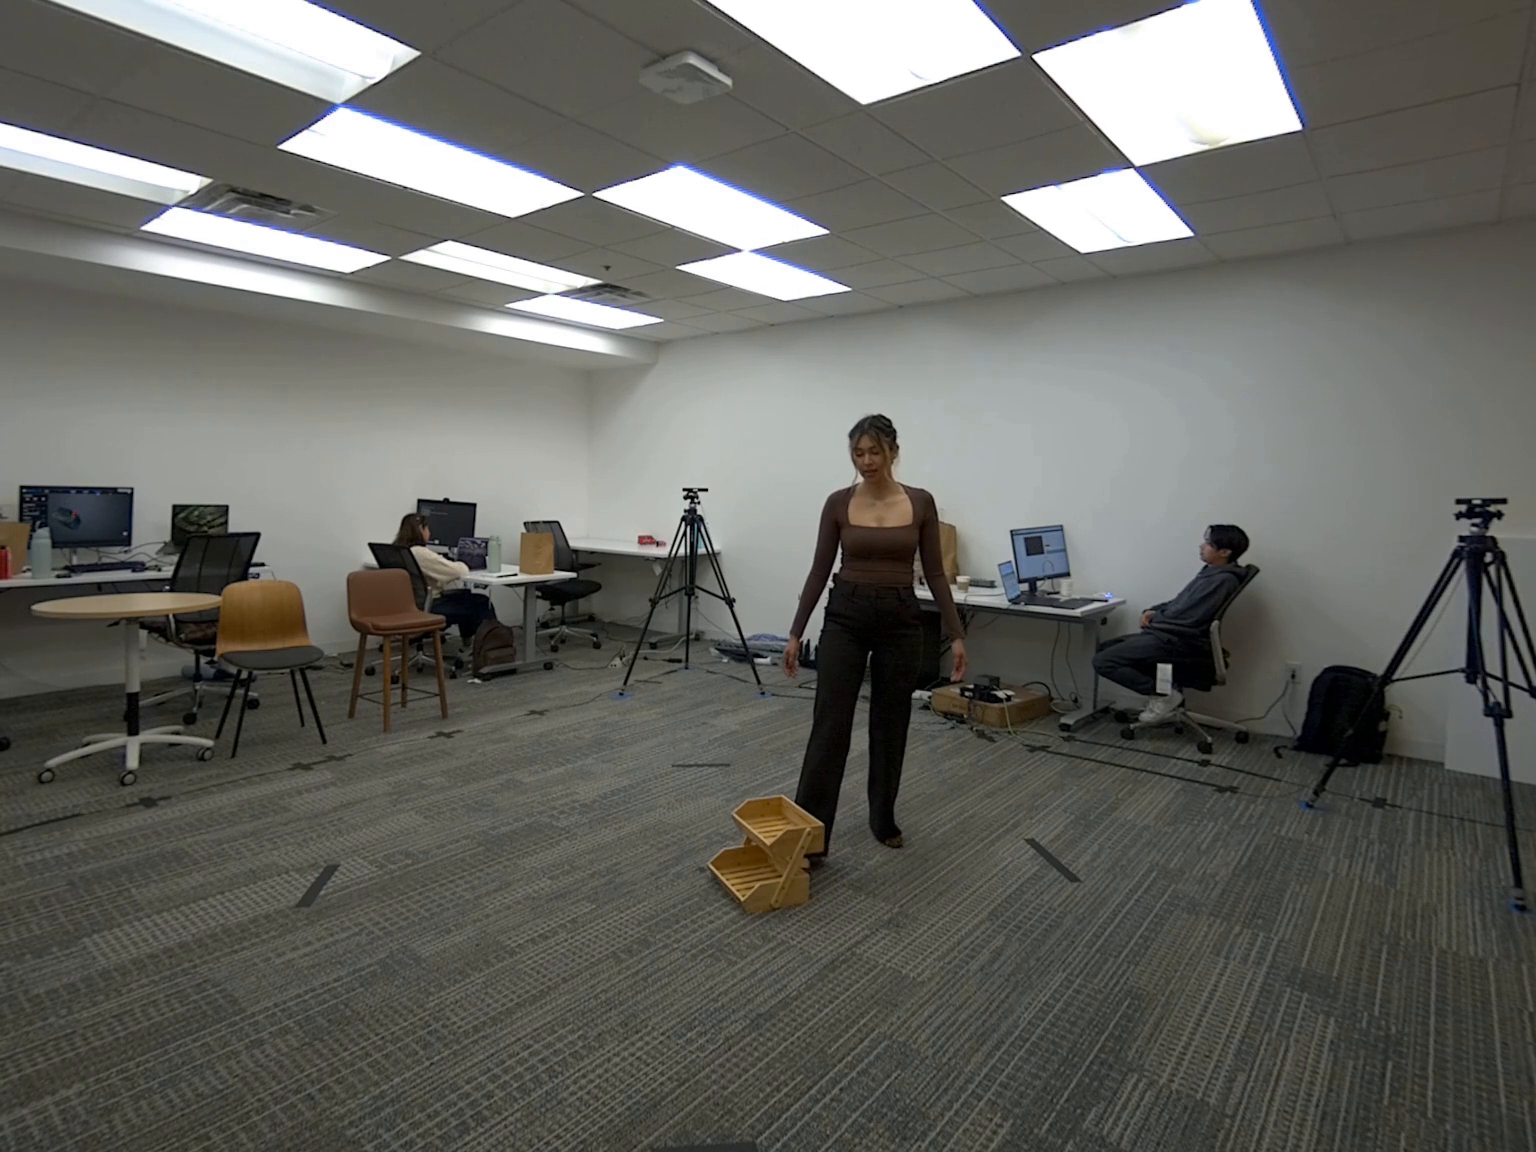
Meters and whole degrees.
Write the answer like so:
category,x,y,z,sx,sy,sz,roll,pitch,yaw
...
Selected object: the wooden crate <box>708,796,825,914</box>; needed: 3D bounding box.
category,x,y,z,sx,sy,sz,roll,pitch,yaw
wooden crate,-0.014,0.954,2.967,0.294,0.272,0.334,-1,5,-27
